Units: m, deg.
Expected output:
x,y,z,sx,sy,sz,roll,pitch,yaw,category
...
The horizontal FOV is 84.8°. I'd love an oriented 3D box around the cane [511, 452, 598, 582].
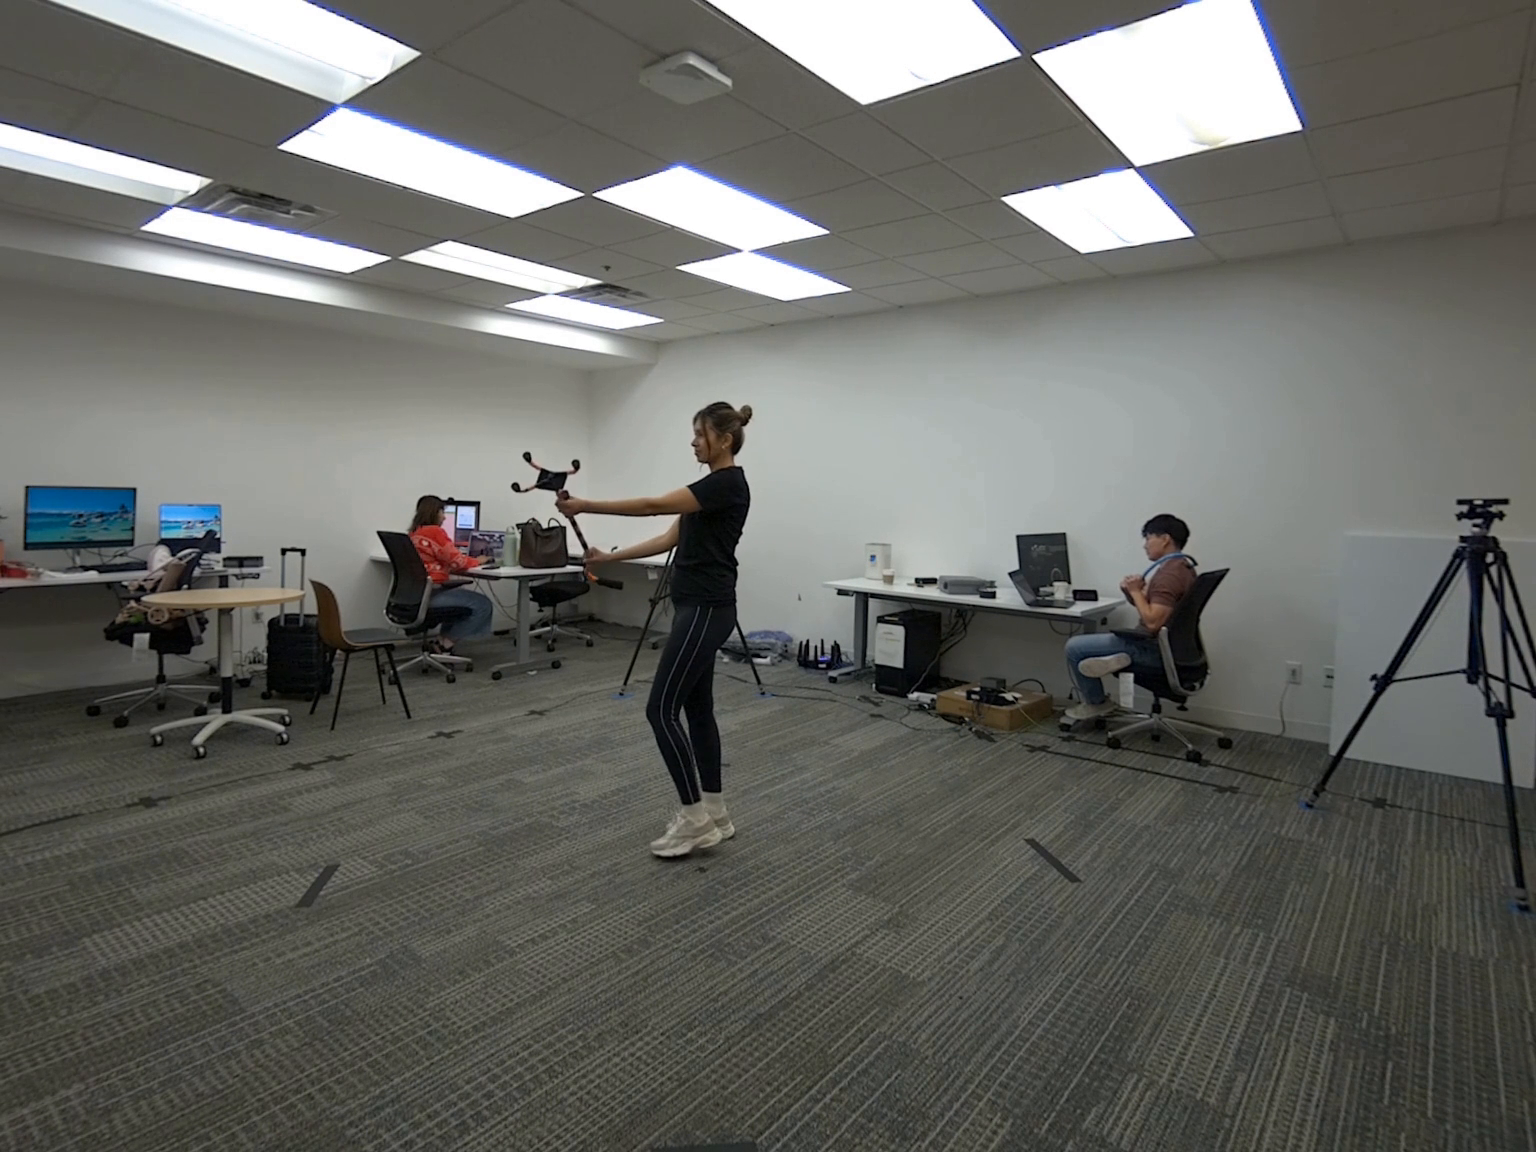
x,y,z,sx,sy,sz,roll,pitch,yaw,category
-0.754,-0.153,3.252,0.209,0.154,0.883,10,-25,8,cane
